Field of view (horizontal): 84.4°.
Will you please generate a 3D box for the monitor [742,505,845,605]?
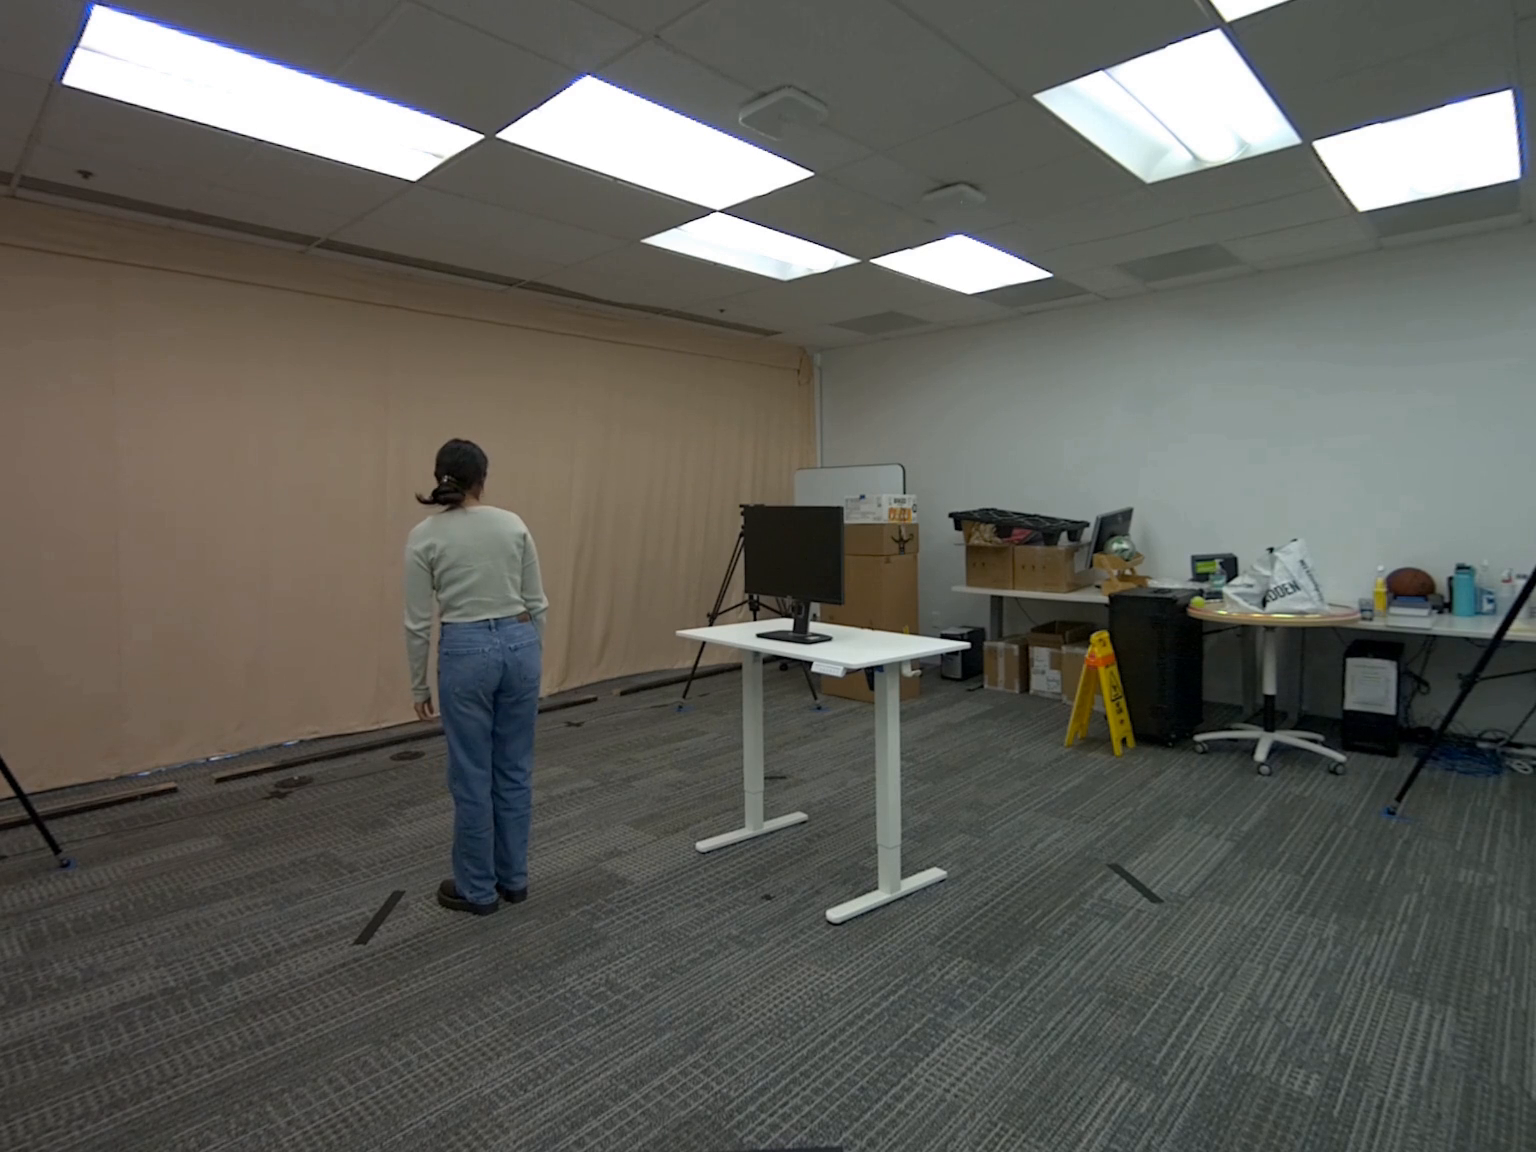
[{"bbox_3d":[0.107,-0.006,3.185,0.182,0.520,0.557,-10,10,-41],"label":"monitor"}]
